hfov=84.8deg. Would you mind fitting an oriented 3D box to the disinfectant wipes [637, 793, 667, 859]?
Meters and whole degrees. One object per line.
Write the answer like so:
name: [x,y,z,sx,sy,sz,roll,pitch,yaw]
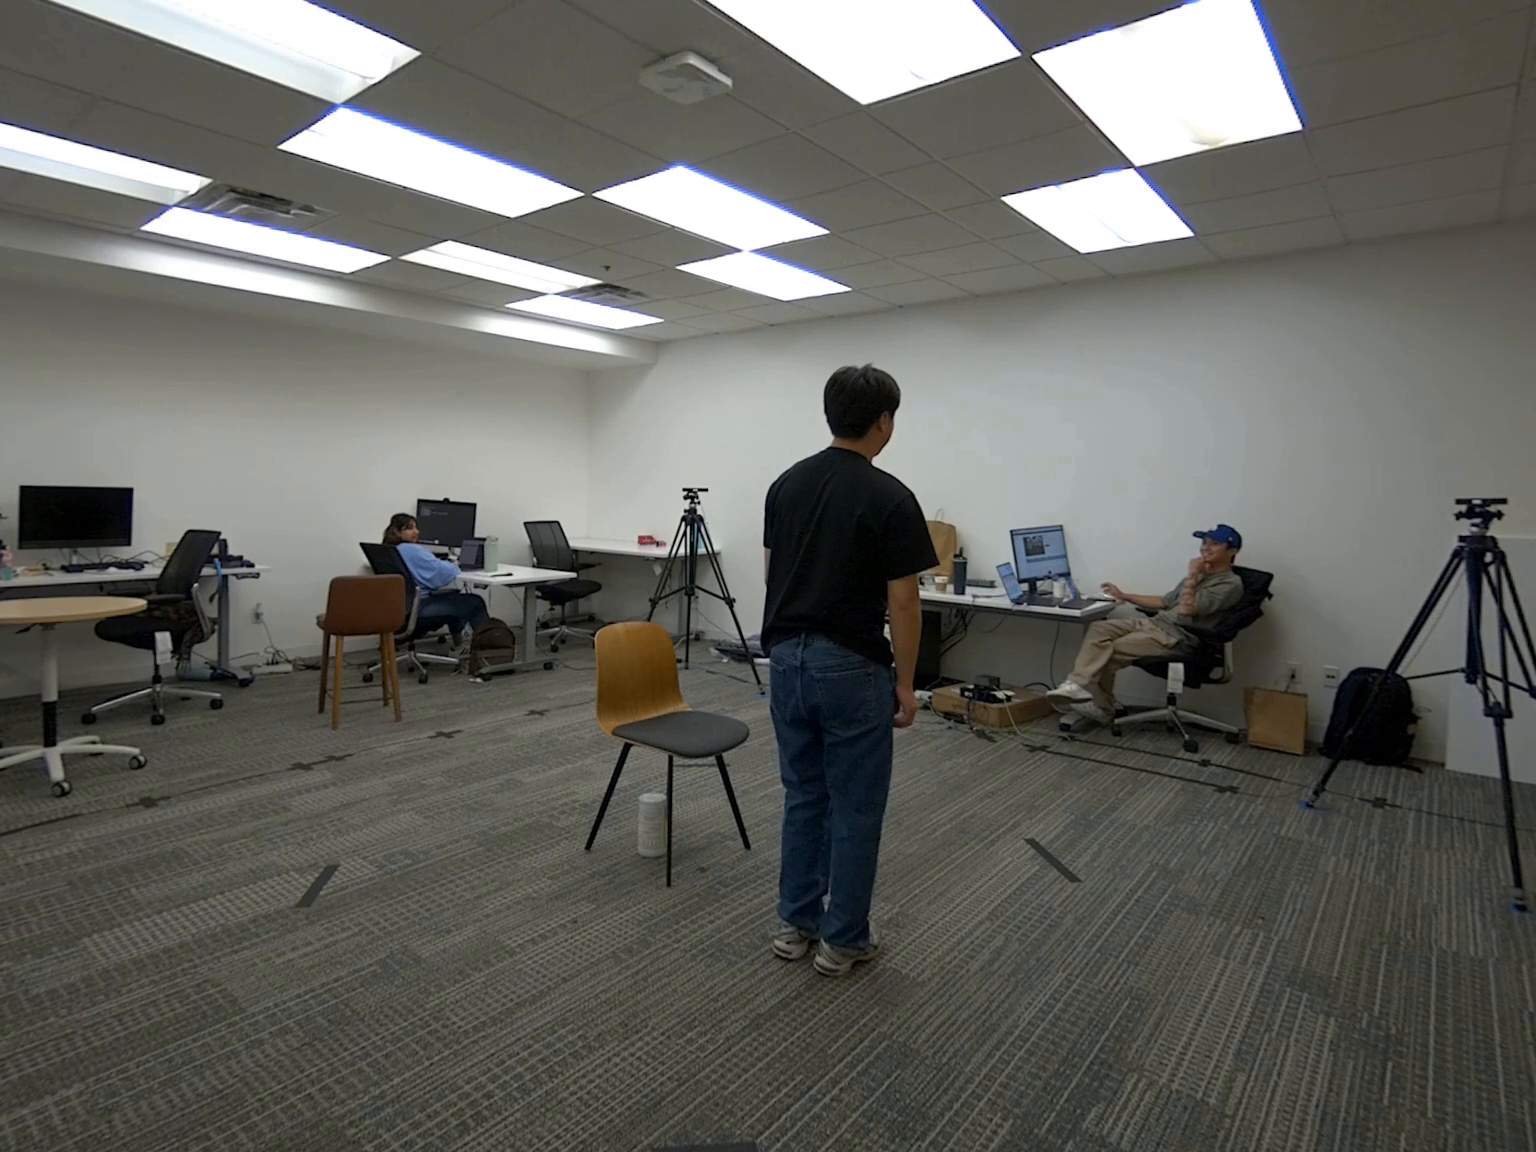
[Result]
disinfectant wipes: [-0.453,0.945,3.242,0.118,0.217,0.118,0,4,-2]
